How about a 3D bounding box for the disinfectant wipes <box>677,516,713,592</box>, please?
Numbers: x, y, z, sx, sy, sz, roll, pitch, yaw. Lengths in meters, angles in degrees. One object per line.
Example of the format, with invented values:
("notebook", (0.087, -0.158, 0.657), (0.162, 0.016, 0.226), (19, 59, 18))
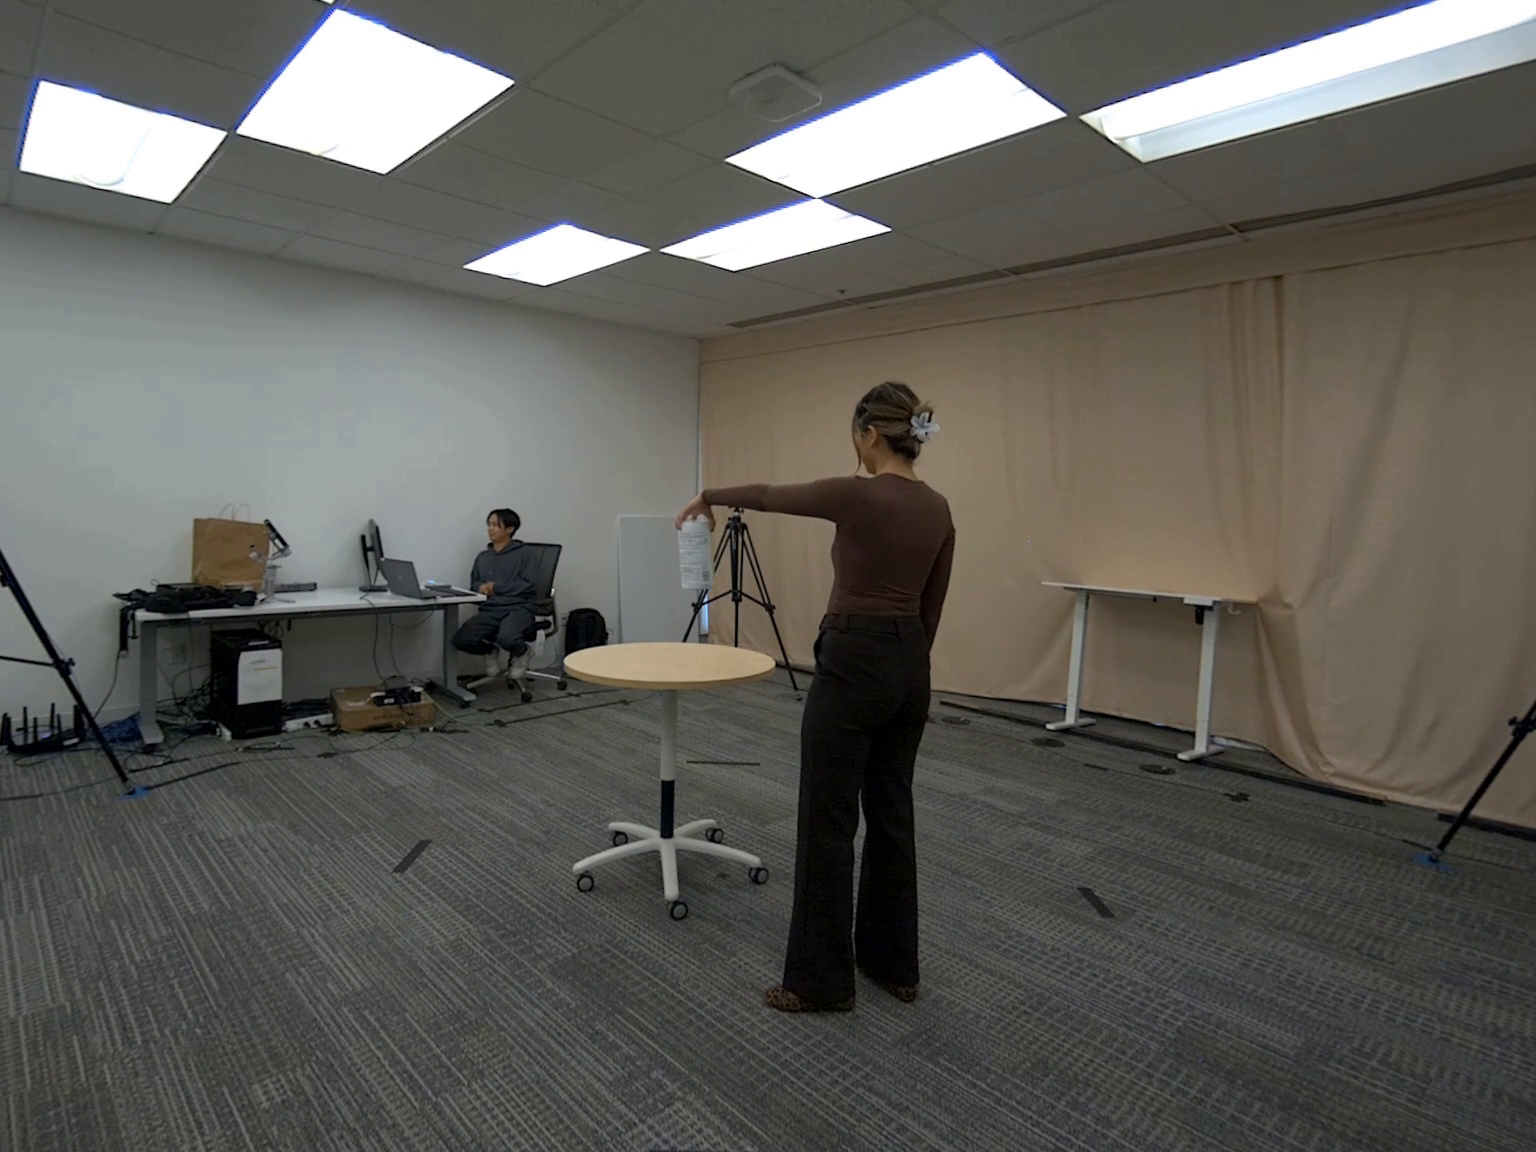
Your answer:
("disinfectant wipes", (-0.230, -0.066, 2.685), (0.118, 0.217, 0.118), (-3, 5, -1))
